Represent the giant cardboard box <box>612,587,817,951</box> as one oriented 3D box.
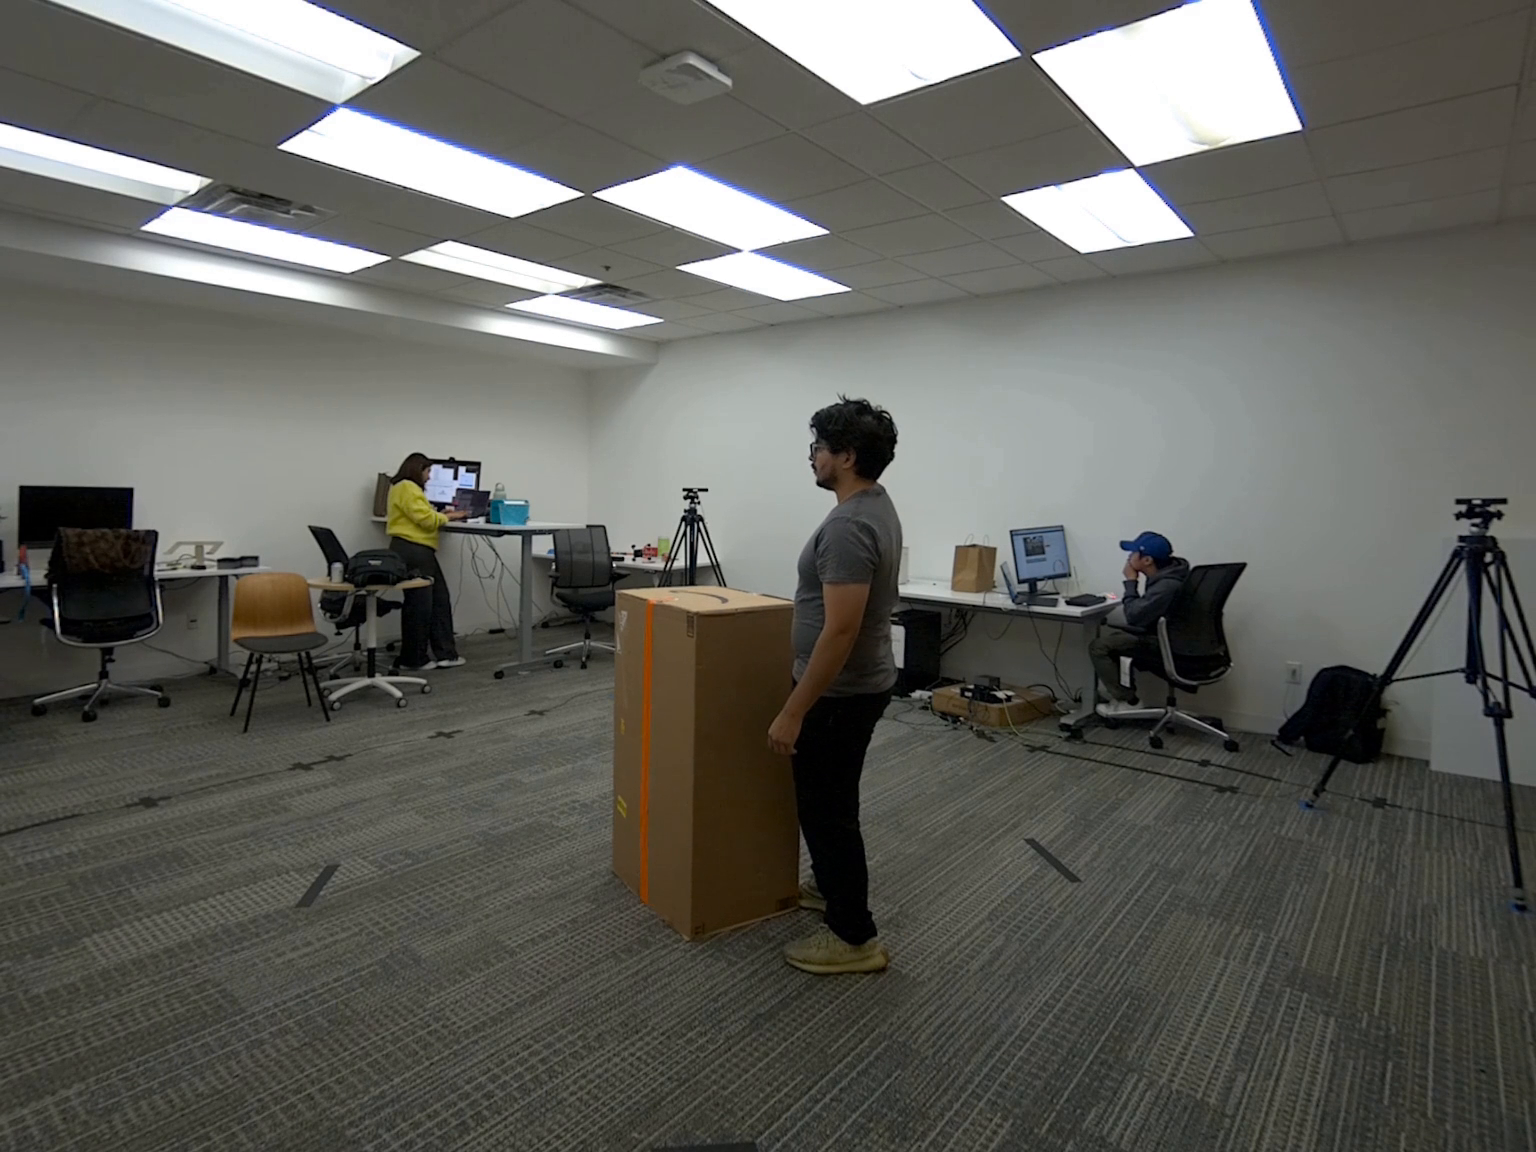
[{"bbox_3d":[-0.234,0.578,2.923,0.434,1.024,0.603,0,4,-34],"label":"giant cardboard box"}]
